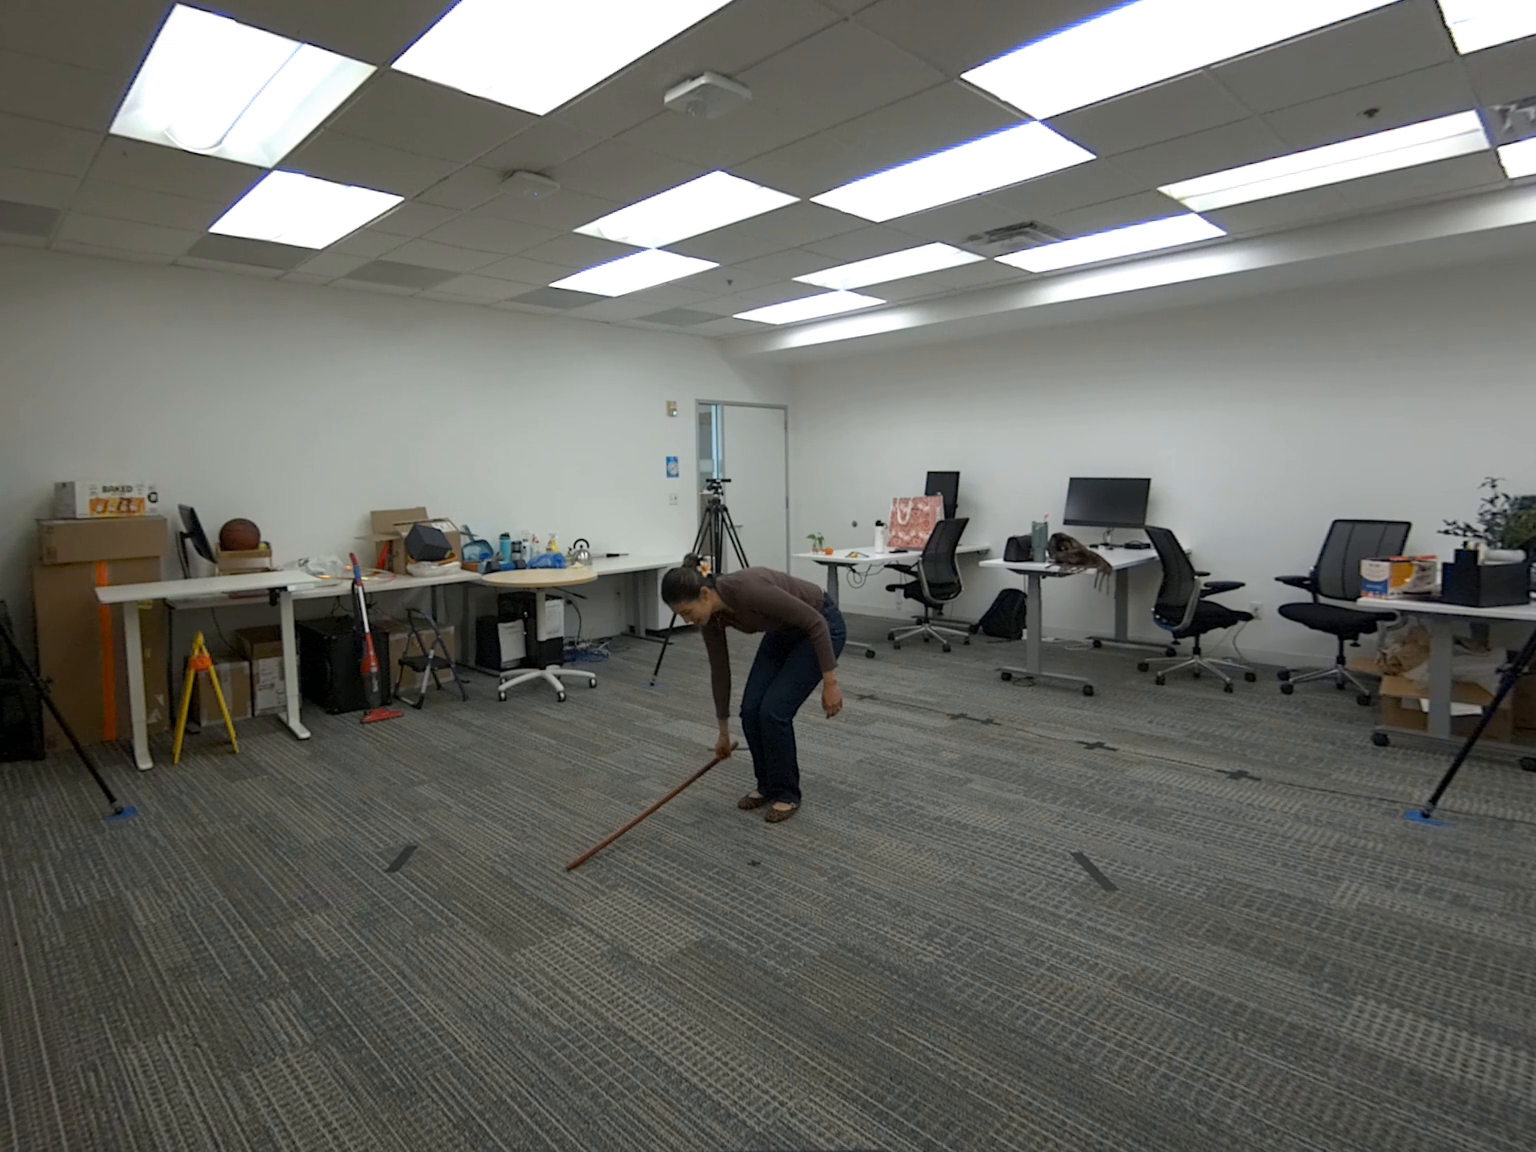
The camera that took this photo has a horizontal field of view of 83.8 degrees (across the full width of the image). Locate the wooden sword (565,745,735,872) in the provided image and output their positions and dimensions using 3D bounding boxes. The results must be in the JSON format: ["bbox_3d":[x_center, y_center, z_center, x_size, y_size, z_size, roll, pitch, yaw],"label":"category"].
[{"bbox_3d":[-0.444,0.914,3.451,0.024,0.051,1.009,42,36,17],"label":"wooden sword"}]
